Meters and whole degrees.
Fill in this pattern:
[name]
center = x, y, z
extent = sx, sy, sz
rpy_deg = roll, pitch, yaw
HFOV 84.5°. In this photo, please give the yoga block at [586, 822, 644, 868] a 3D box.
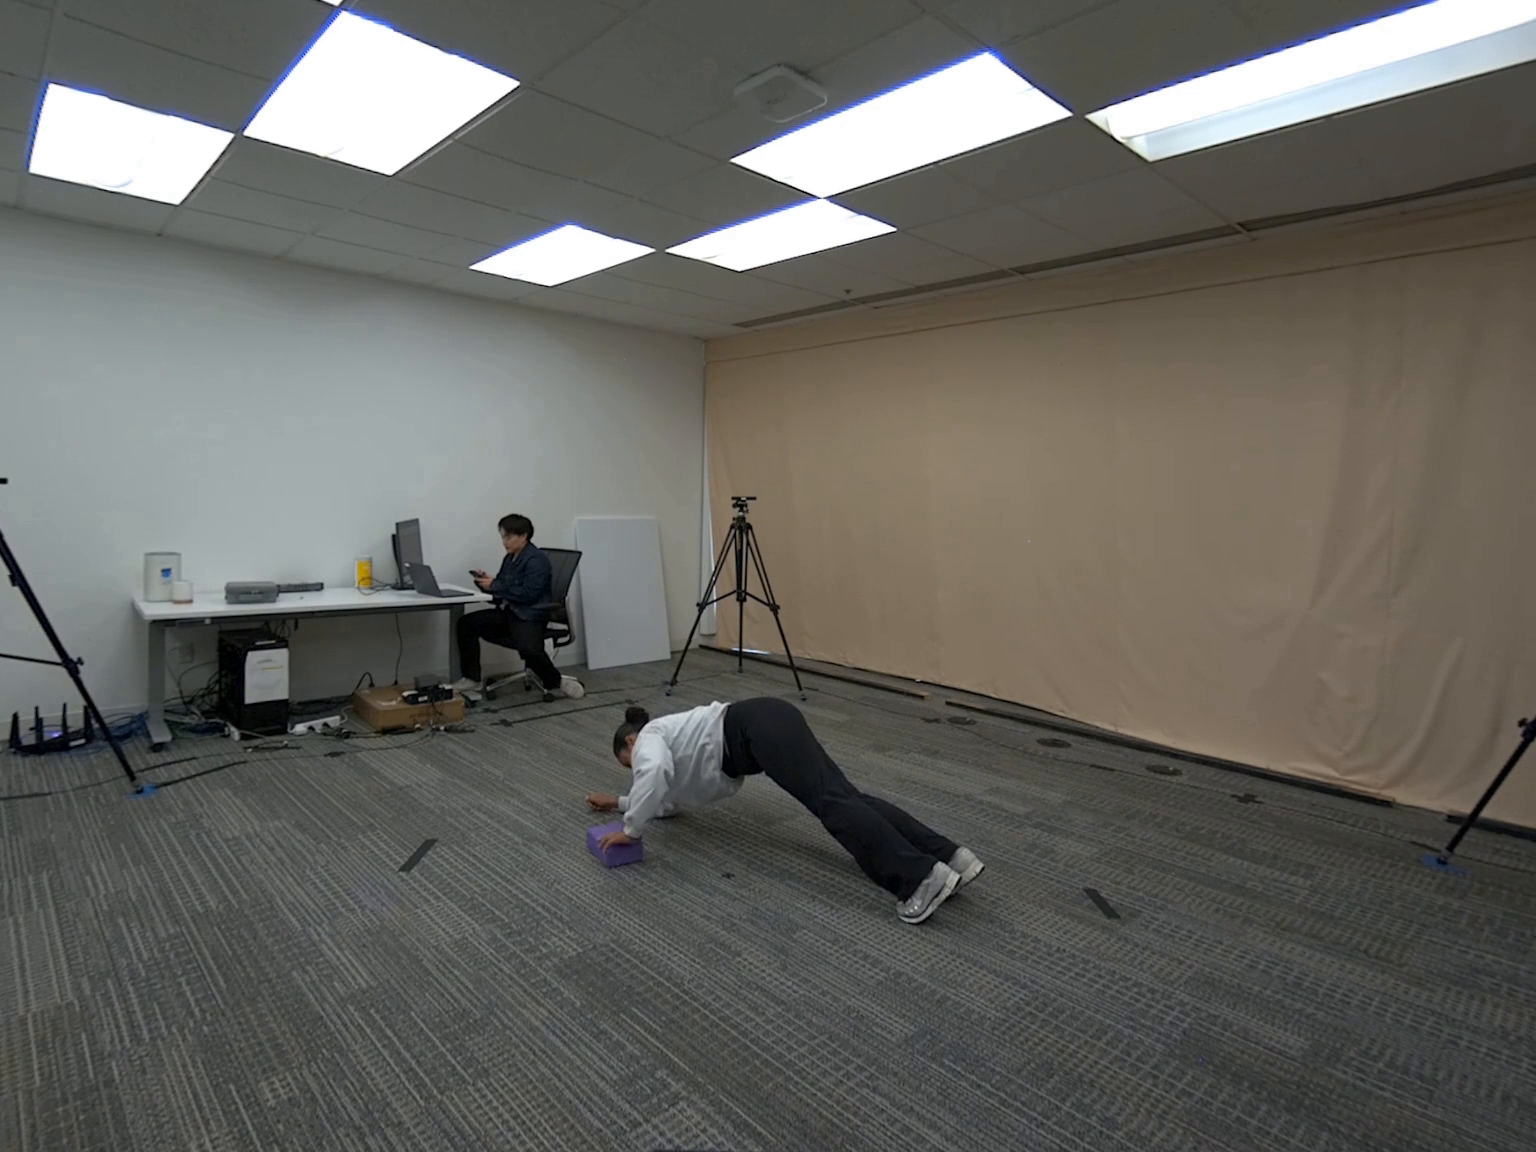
[yoga block]
center = -0.592, 1.034, 3.271
extent = 0.146, 0.076, 0.235
rpy_deg = -4, 8, -32
